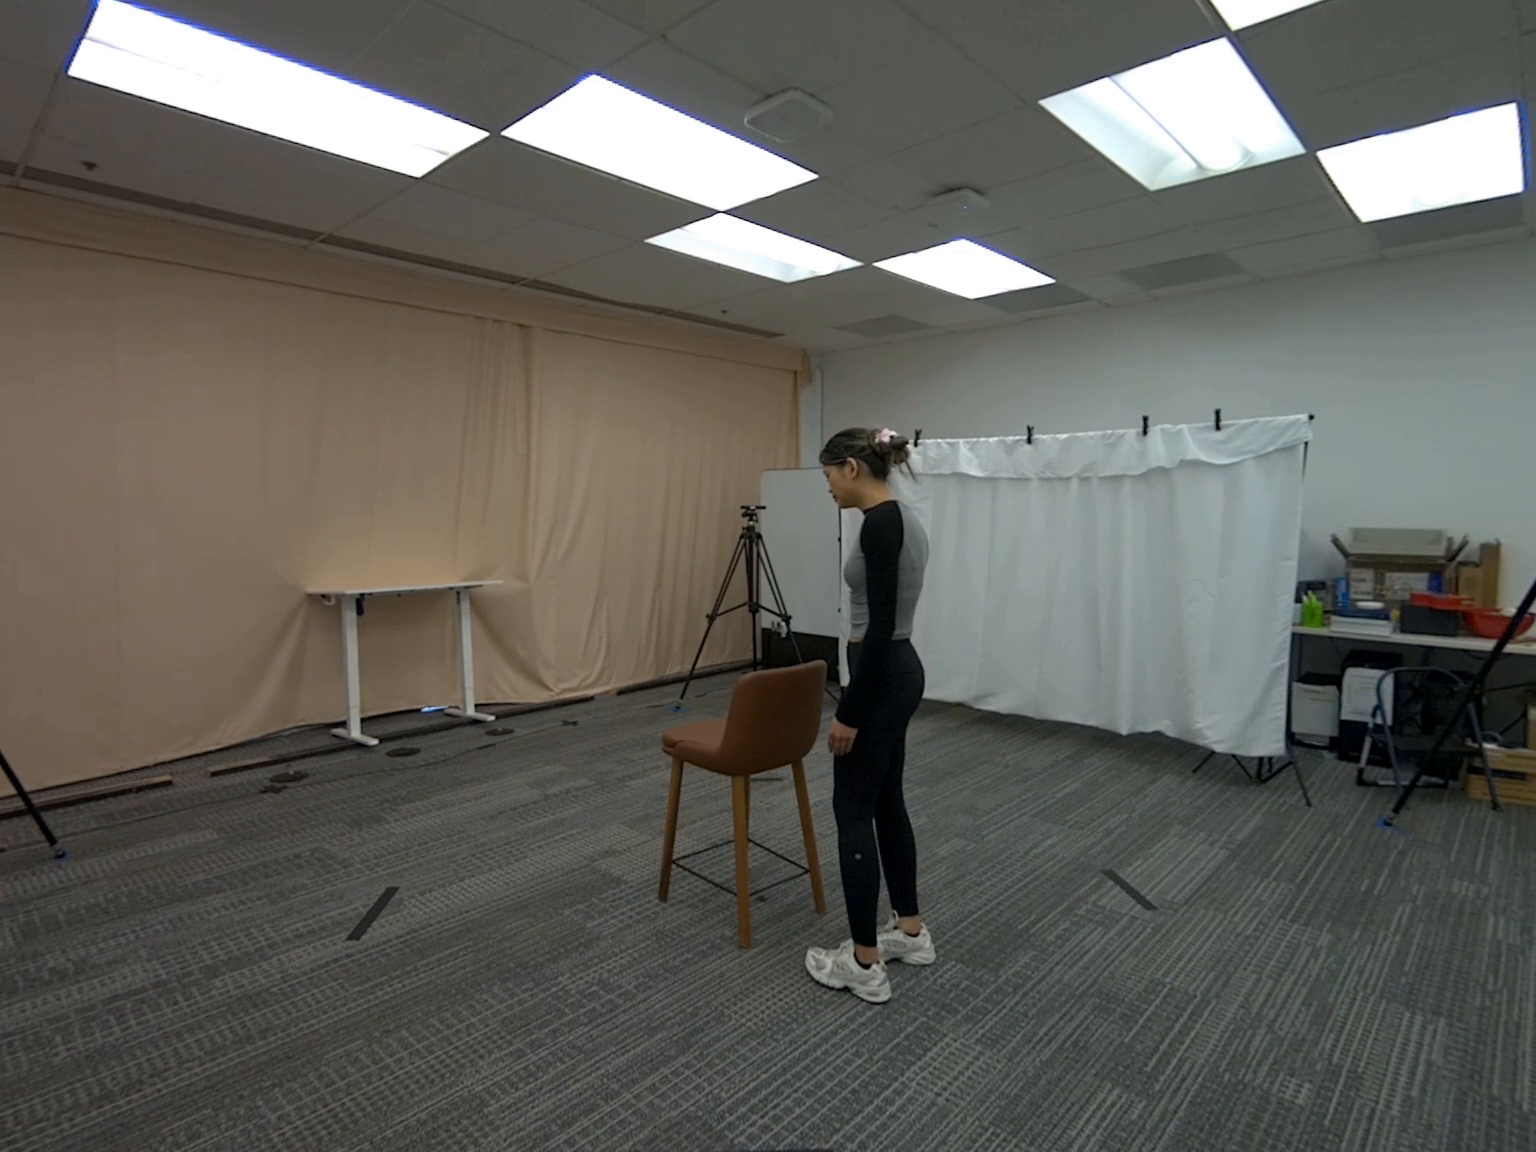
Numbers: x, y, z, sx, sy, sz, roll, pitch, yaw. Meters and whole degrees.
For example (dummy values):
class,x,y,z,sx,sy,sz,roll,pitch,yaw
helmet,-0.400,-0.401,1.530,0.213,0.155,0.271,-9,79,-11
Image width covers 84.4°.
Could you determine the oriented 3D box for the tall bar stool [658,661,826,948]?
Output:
class,x,y,z,sx,sy,sz,roll,pitch,yaw
tall bar stool,-0.083,0.714,2.910,0.442,0.887,0.483,-3,6,-41
